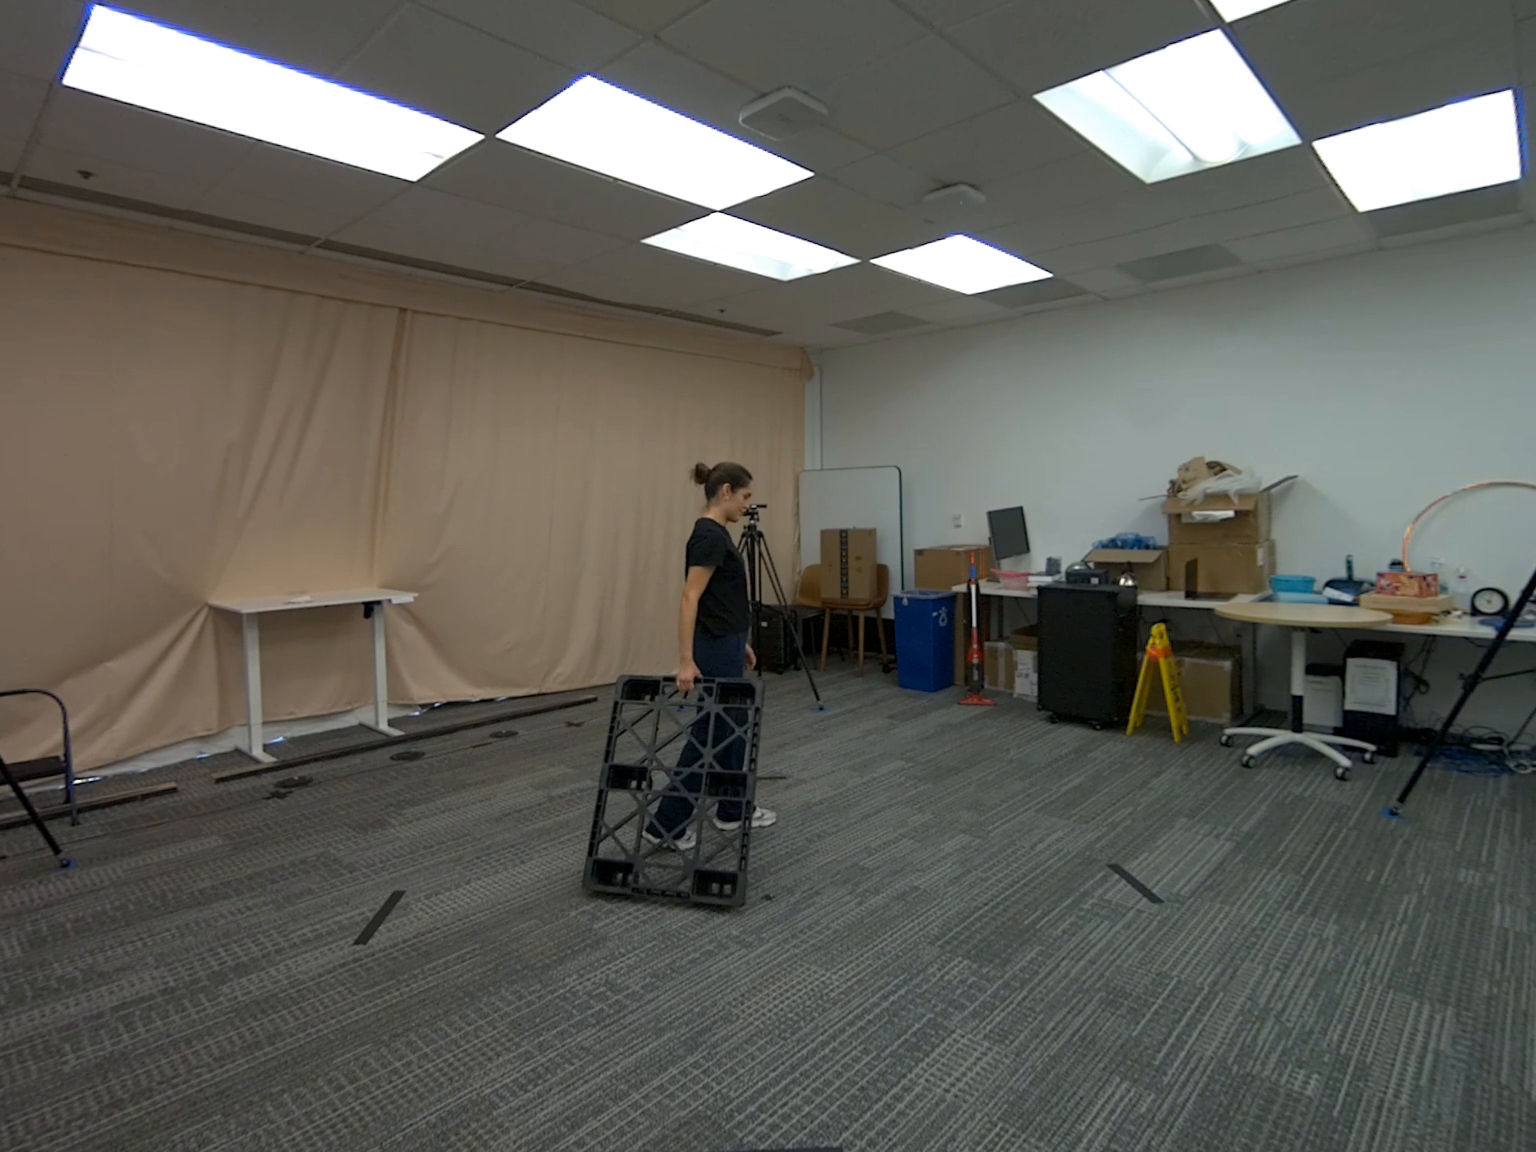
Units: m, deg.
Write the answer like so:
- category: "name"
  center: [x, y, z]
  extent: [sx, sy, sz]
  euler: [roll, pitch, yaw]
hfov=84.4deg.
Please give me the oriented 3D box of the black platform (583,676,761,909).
- category: "black platform"
  center: [-0.312, 0.780, 3.148]
  extent: [0.614, 0.815, 0.139]
  euler: [-1, -26, 14]
